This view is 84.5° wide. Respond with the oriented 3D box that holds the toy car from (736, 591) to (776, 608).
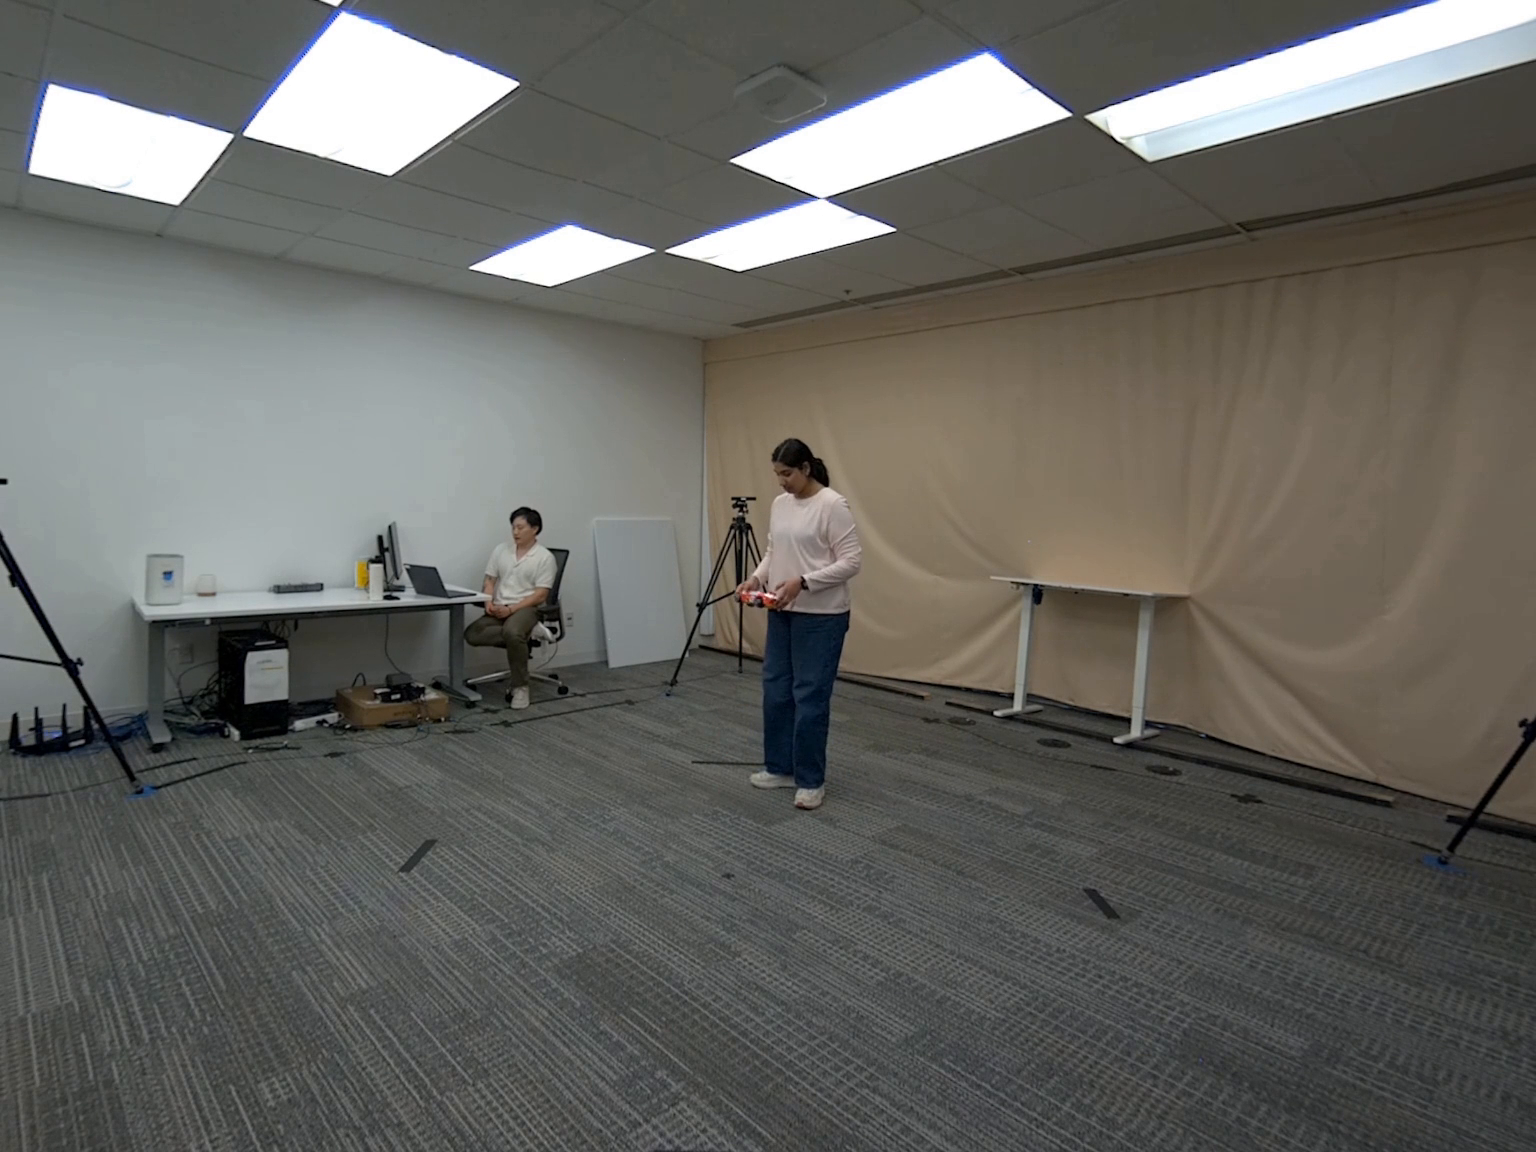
[{"bbox_3d":[-0.056,0.115,3.783,0.260,0.084,0.126,-4,-18,45],"label":"toy car"}]
